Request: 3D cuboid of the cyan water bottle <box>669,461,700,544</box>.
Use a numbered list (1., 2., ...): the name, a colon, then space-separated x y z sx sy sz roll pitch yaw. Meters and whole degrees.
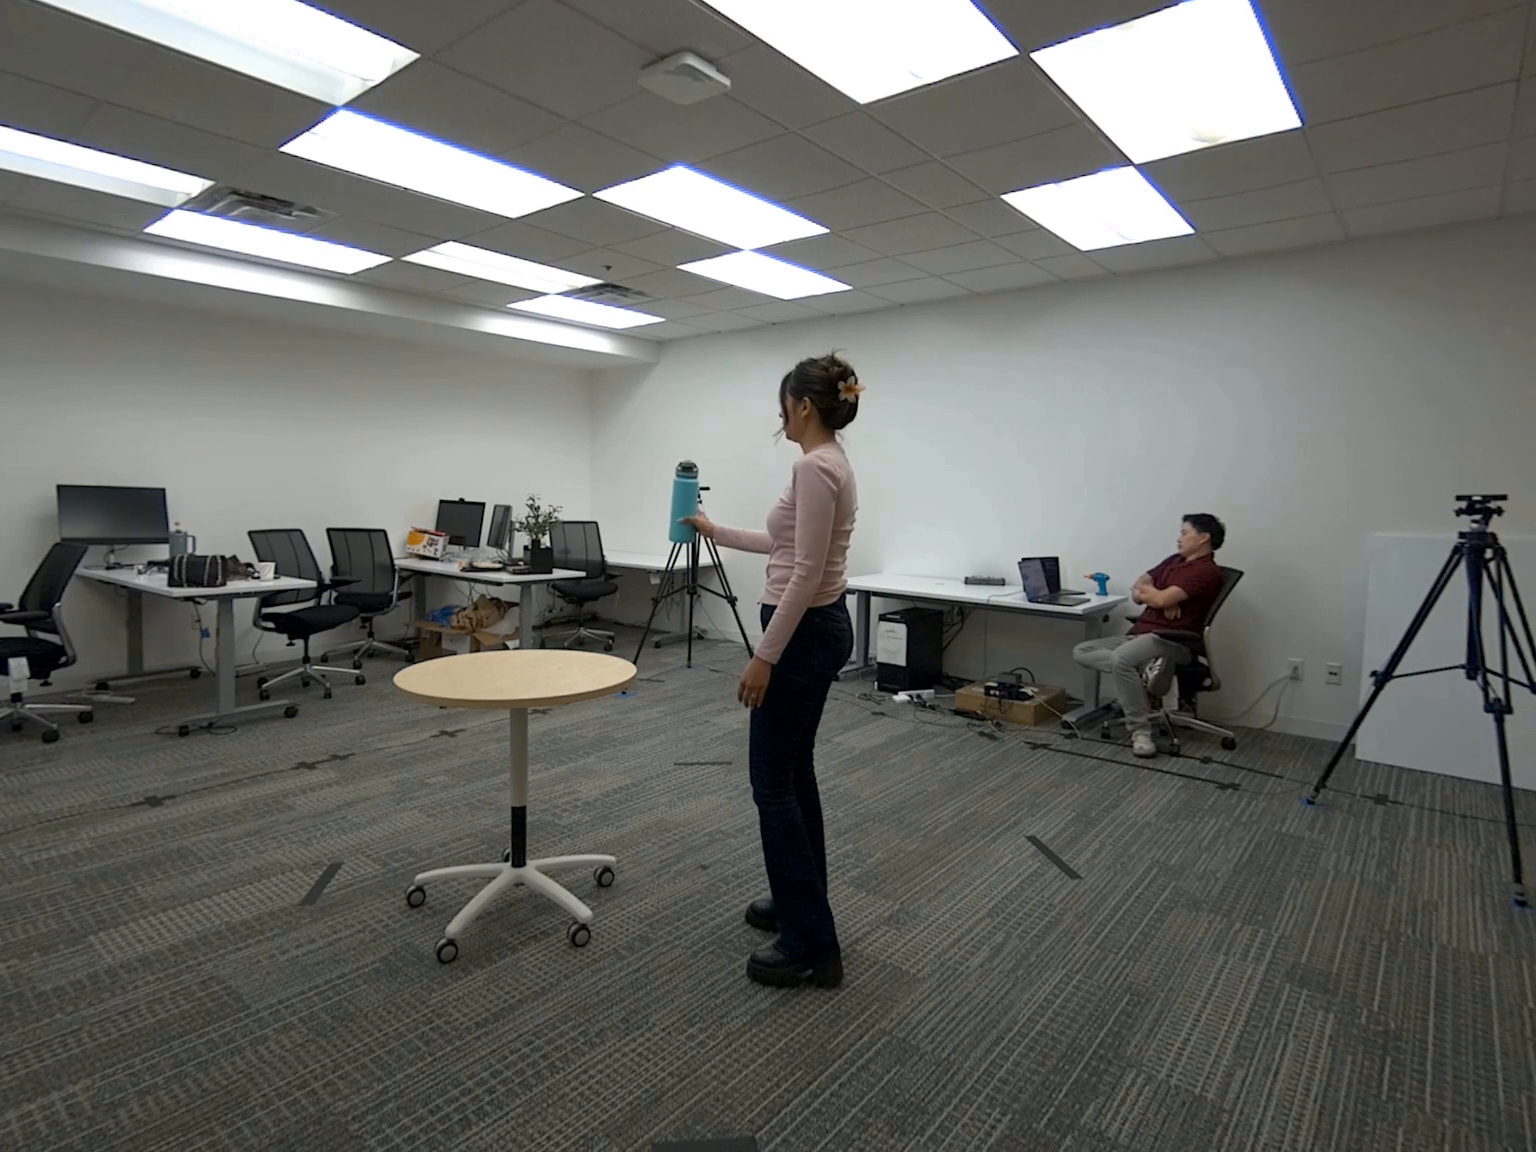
1. cyan water bottle: -0.302 -0.264 2.939 0.092 0.281 0.093 4 10 -3
